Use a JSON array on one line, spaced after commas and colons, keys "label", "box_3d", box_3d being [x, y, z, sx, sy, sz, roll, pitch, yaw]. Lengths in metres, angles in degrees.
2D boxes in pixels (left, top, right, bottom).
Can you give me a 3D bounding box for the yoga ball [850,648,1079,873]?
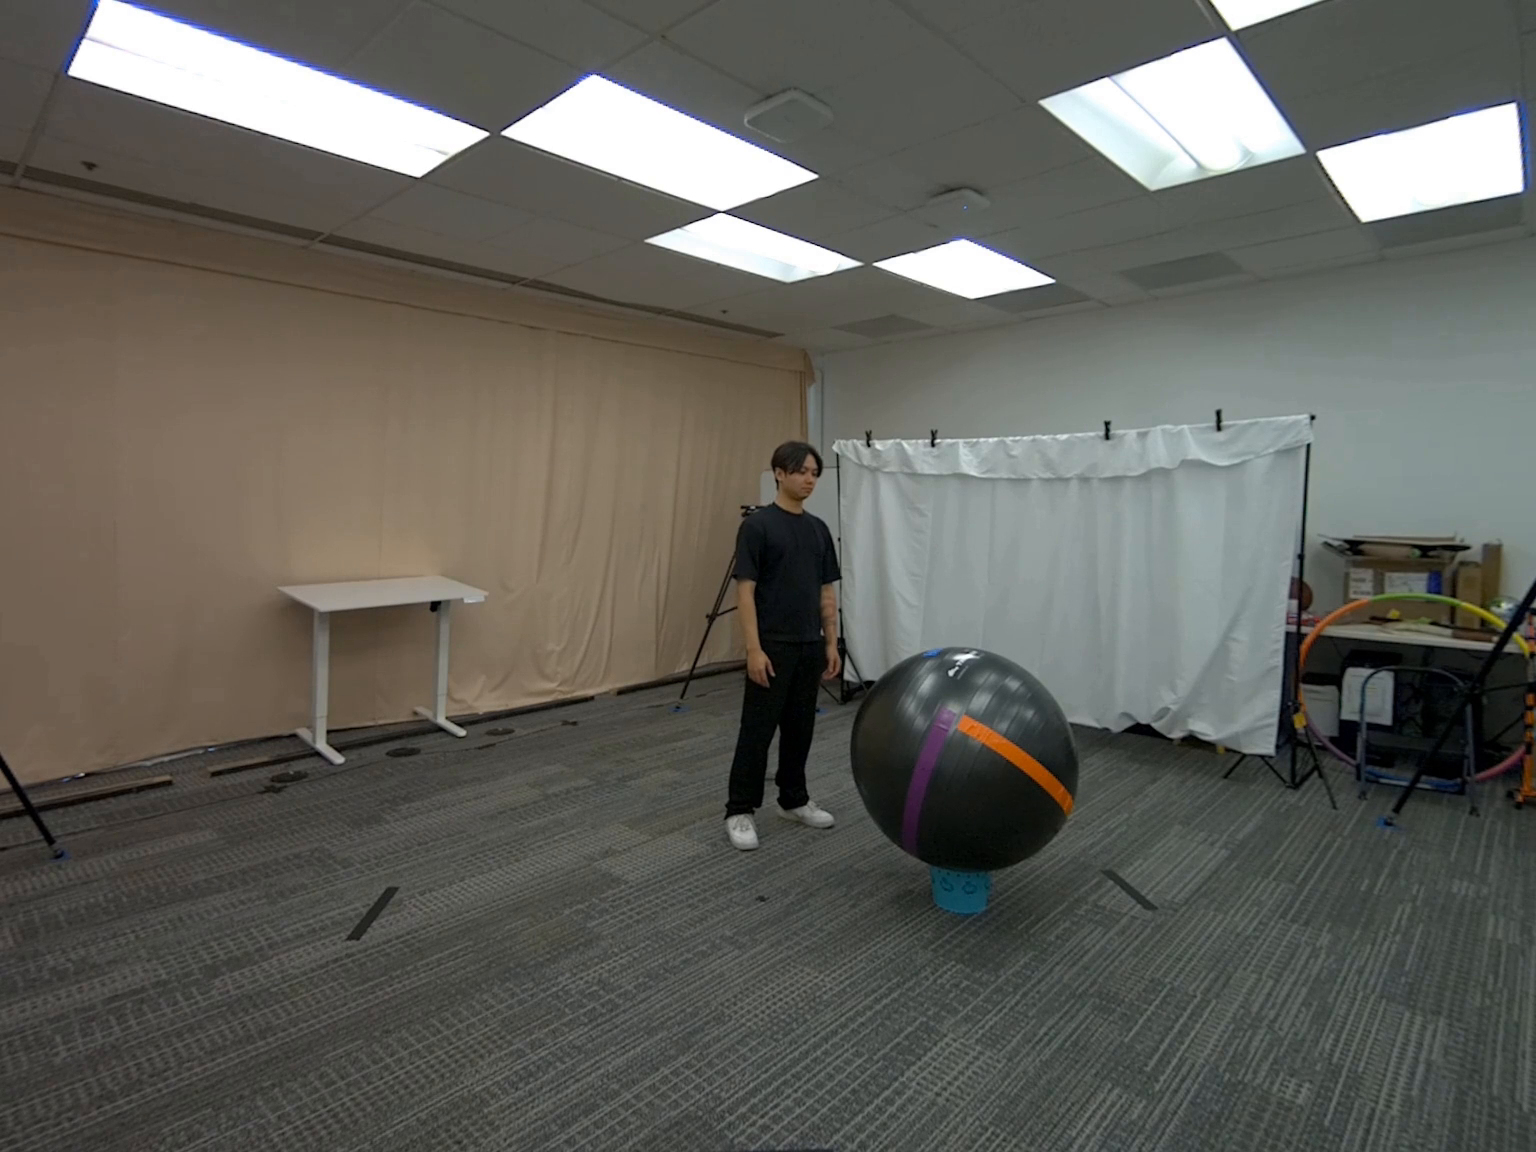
[{"label": "yoga ball", "box_3d": [0.676, 0.633, 2.932, 0.757, 0.756, 0.760, 0, 4, -2]}]
